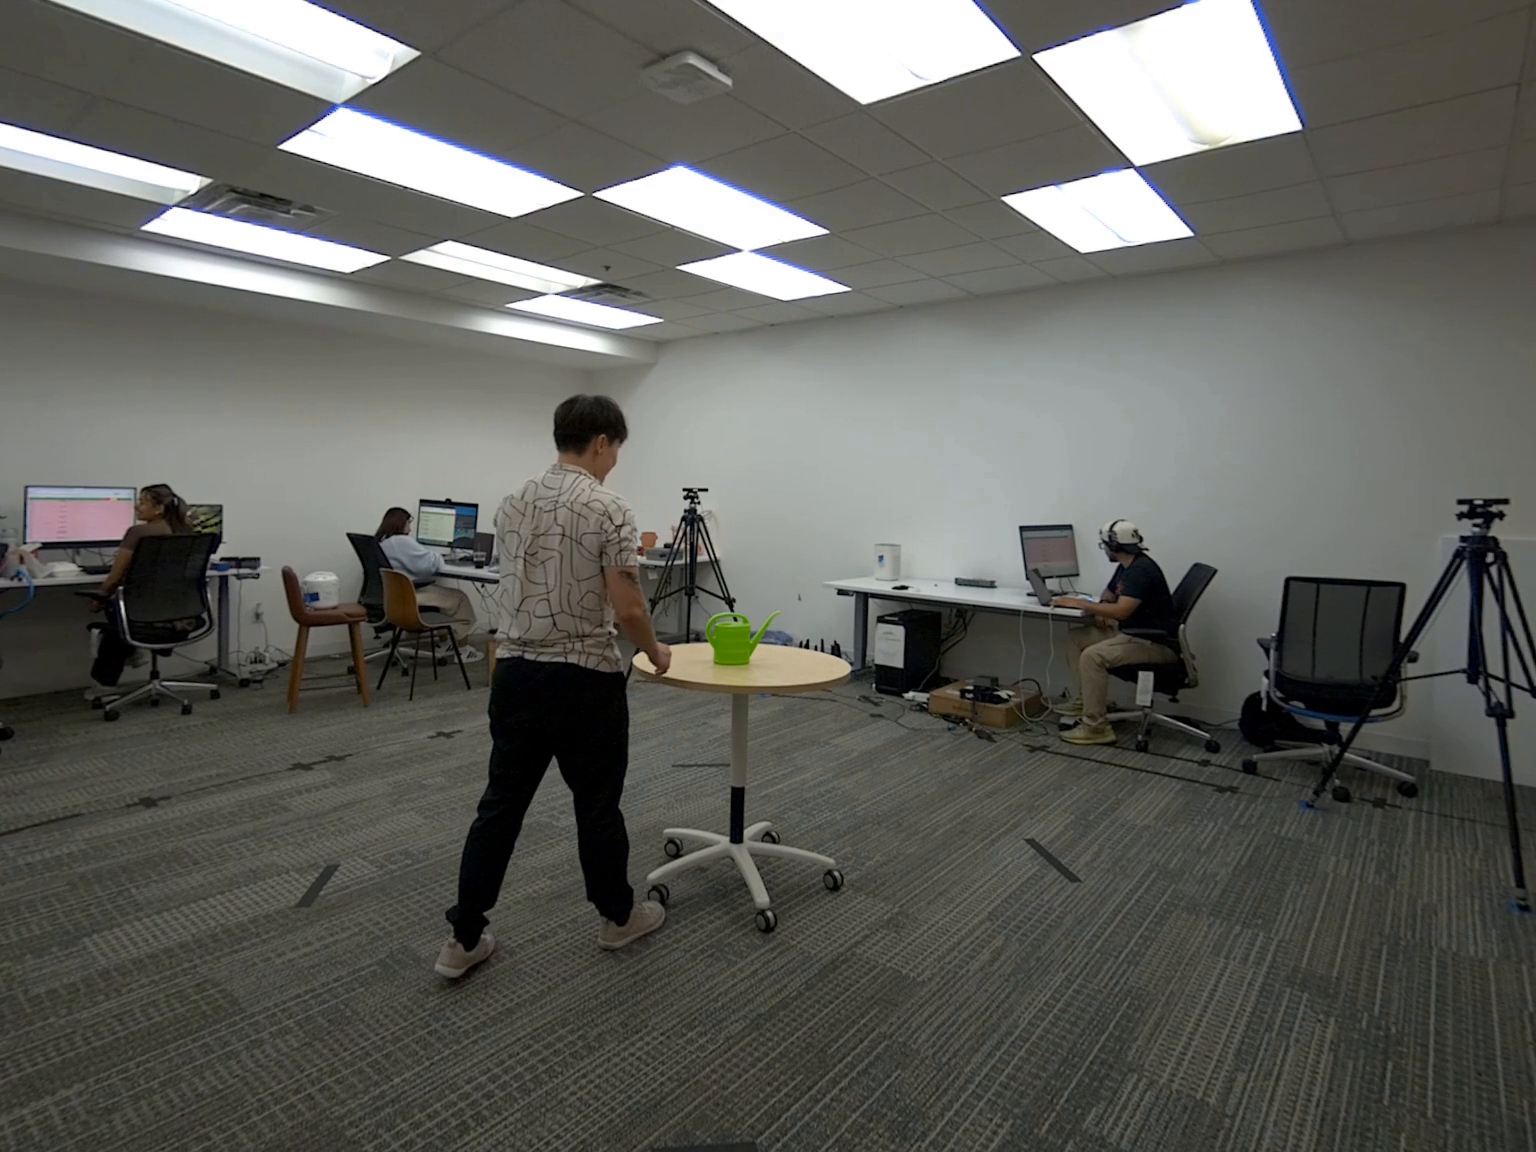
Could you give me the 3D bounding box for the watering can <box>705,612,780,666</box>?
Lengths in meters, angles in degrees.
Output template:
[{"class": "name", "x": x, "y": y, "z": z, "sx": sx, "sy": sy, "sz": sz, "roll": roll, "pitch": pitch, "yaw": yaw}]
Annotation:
[{"class": "watering can", "x": -0.091, "y": 0.220, "z": 2.965, "sx": 0.277, "sy": 0.176, "sz": 0.099, "roll": 1, "pitch": 7, "yaw": -4}]
